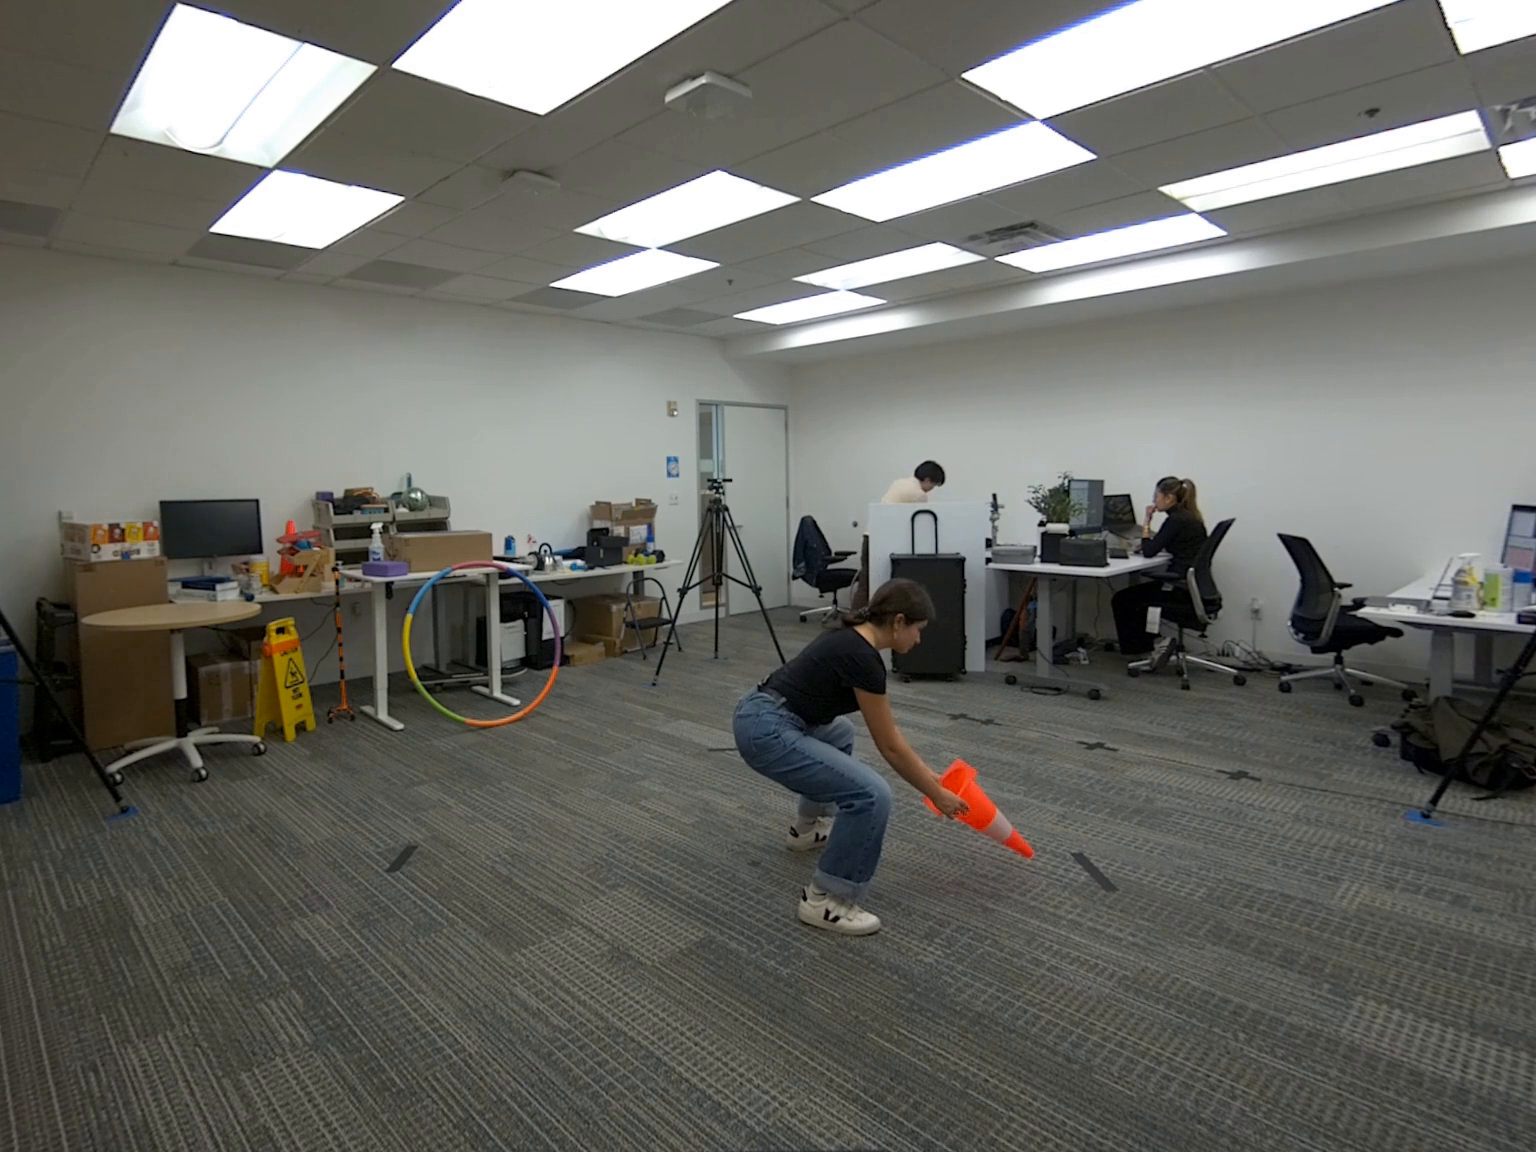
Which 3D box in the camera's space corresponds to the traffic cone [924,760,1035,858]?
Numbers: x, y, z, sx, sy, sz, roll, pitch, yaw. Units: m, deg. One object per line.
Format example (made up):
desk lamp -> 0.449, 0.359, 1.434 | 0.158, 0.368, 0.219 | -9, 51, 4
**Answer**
traffic cone -> 0.763, 0.833, 2.945 | 0.381, 0.205, 0.205 | 39, -10, -6
